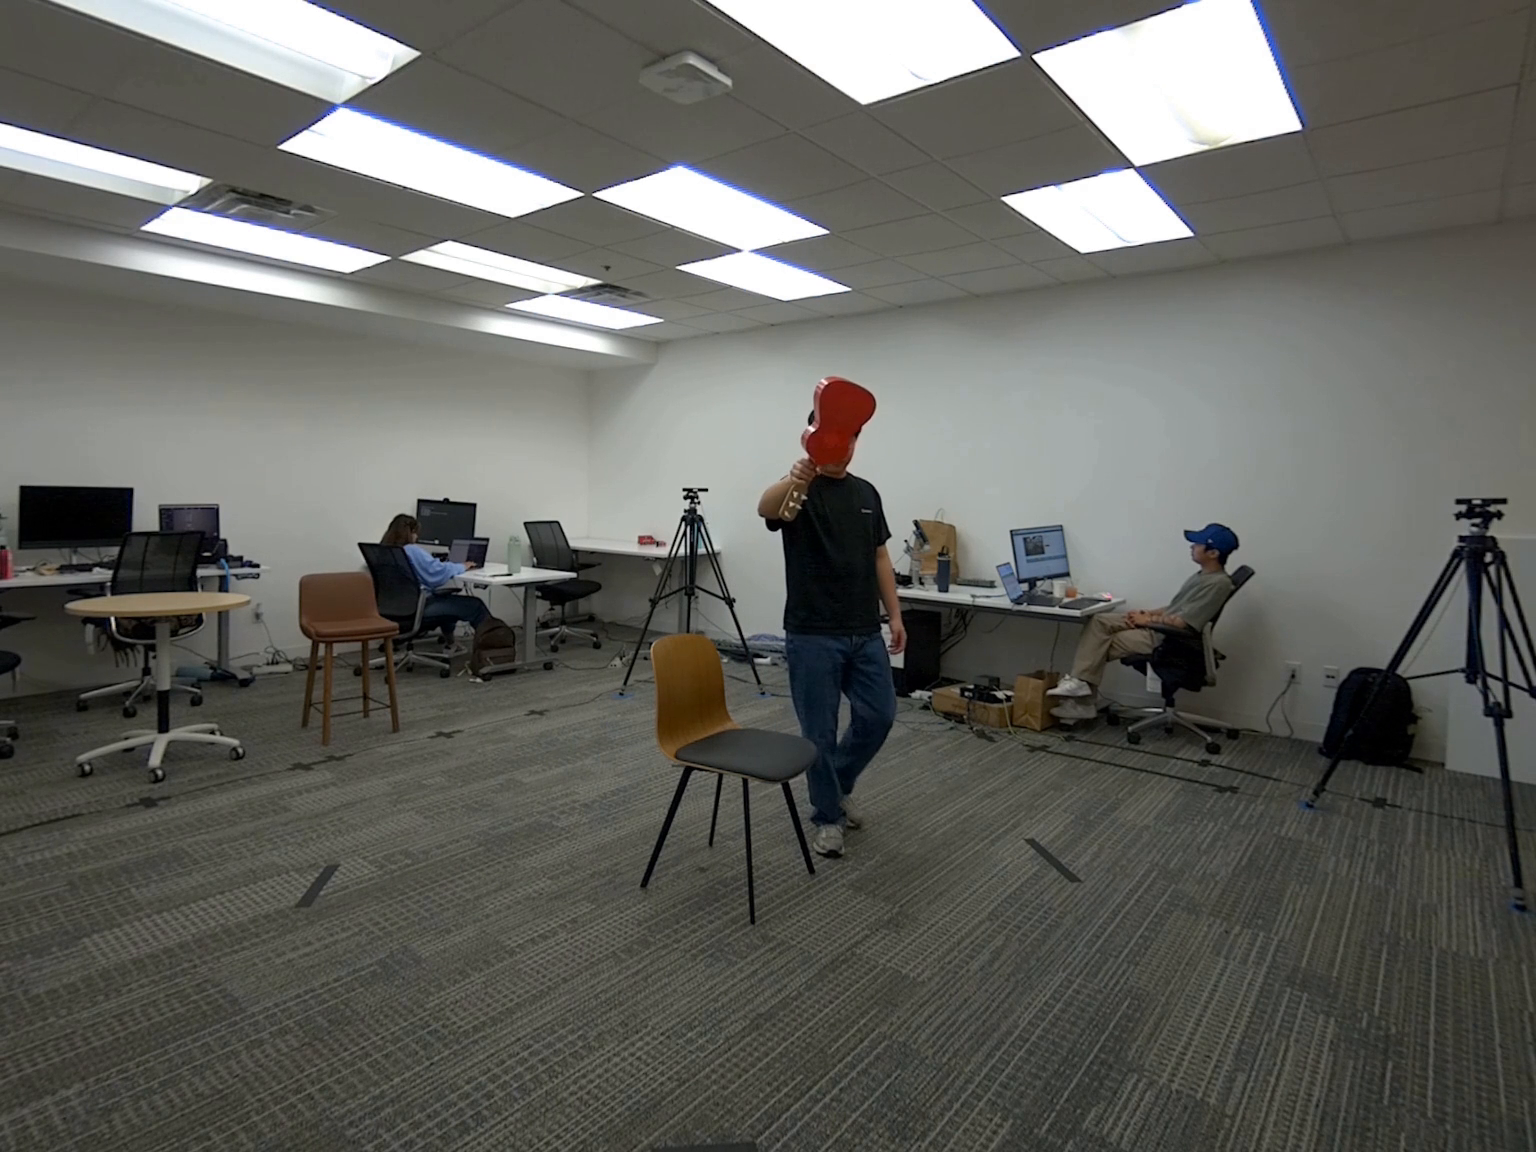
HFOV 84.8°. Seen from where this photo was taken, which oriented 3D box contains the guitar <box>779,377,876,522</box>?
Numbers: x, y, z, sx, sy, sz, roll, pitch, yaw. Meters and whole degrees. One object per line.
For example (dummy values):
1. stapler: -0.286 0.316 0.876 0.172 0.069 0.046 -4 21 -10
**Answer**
1. guitar: 0.177 -0.388 2.742 0.189 0.492 0.073 10 20 -16
